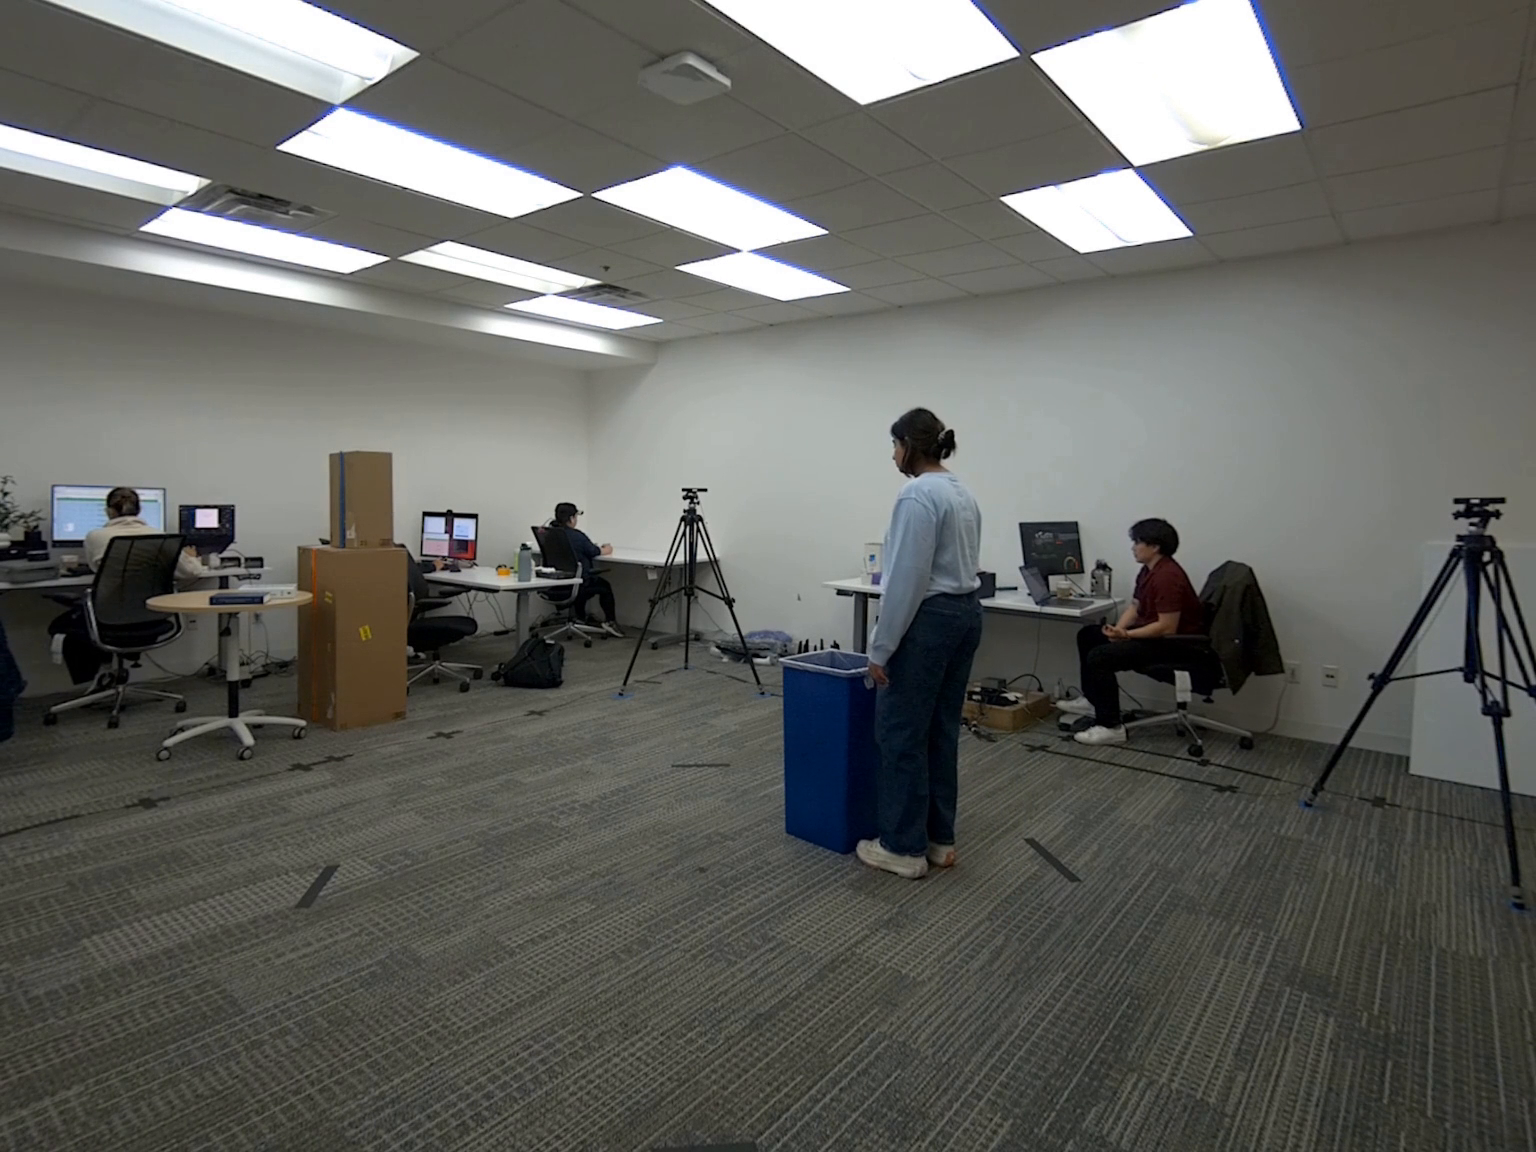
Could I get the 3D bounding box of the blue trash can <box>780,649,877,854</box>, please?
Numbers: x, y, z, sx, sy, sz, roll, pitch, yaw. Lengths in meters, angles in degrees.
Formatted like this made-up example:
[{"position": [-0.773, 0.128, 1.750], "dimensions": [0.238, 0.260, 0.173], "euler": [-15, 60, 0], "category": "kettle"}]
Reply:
[{"position": [0.269, 0.688, 3.455], "dimensions": [0.387, 0.712, 0.366], "euler": [4, 4, 43], "category": "blue trash can"}]
